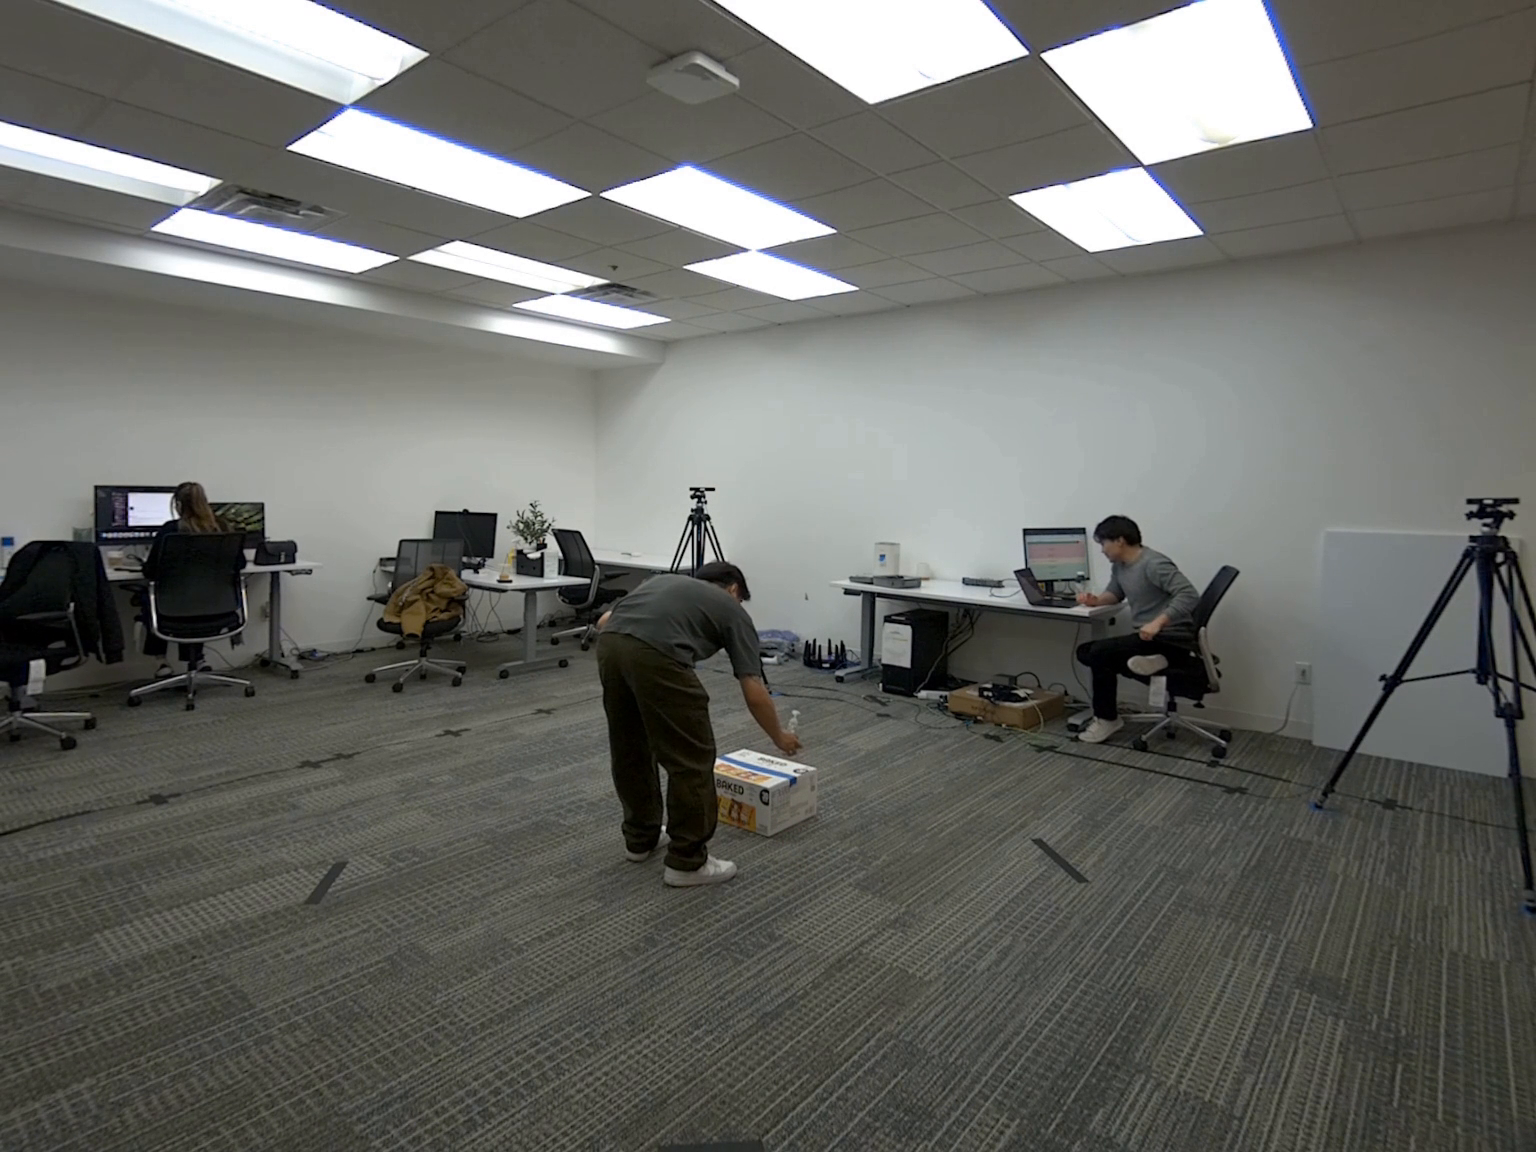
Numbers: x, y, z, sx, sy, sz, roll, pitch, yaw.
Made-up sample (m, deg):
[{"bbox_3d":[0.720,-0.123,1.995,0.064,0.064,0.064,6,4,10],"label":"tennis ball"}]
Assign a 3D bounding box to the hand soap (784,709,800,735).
[{"bbox_3d":[0.078,0.611,3.339,0.044,0.168,0.084,10,2,7],"label":"hand soap"}]
